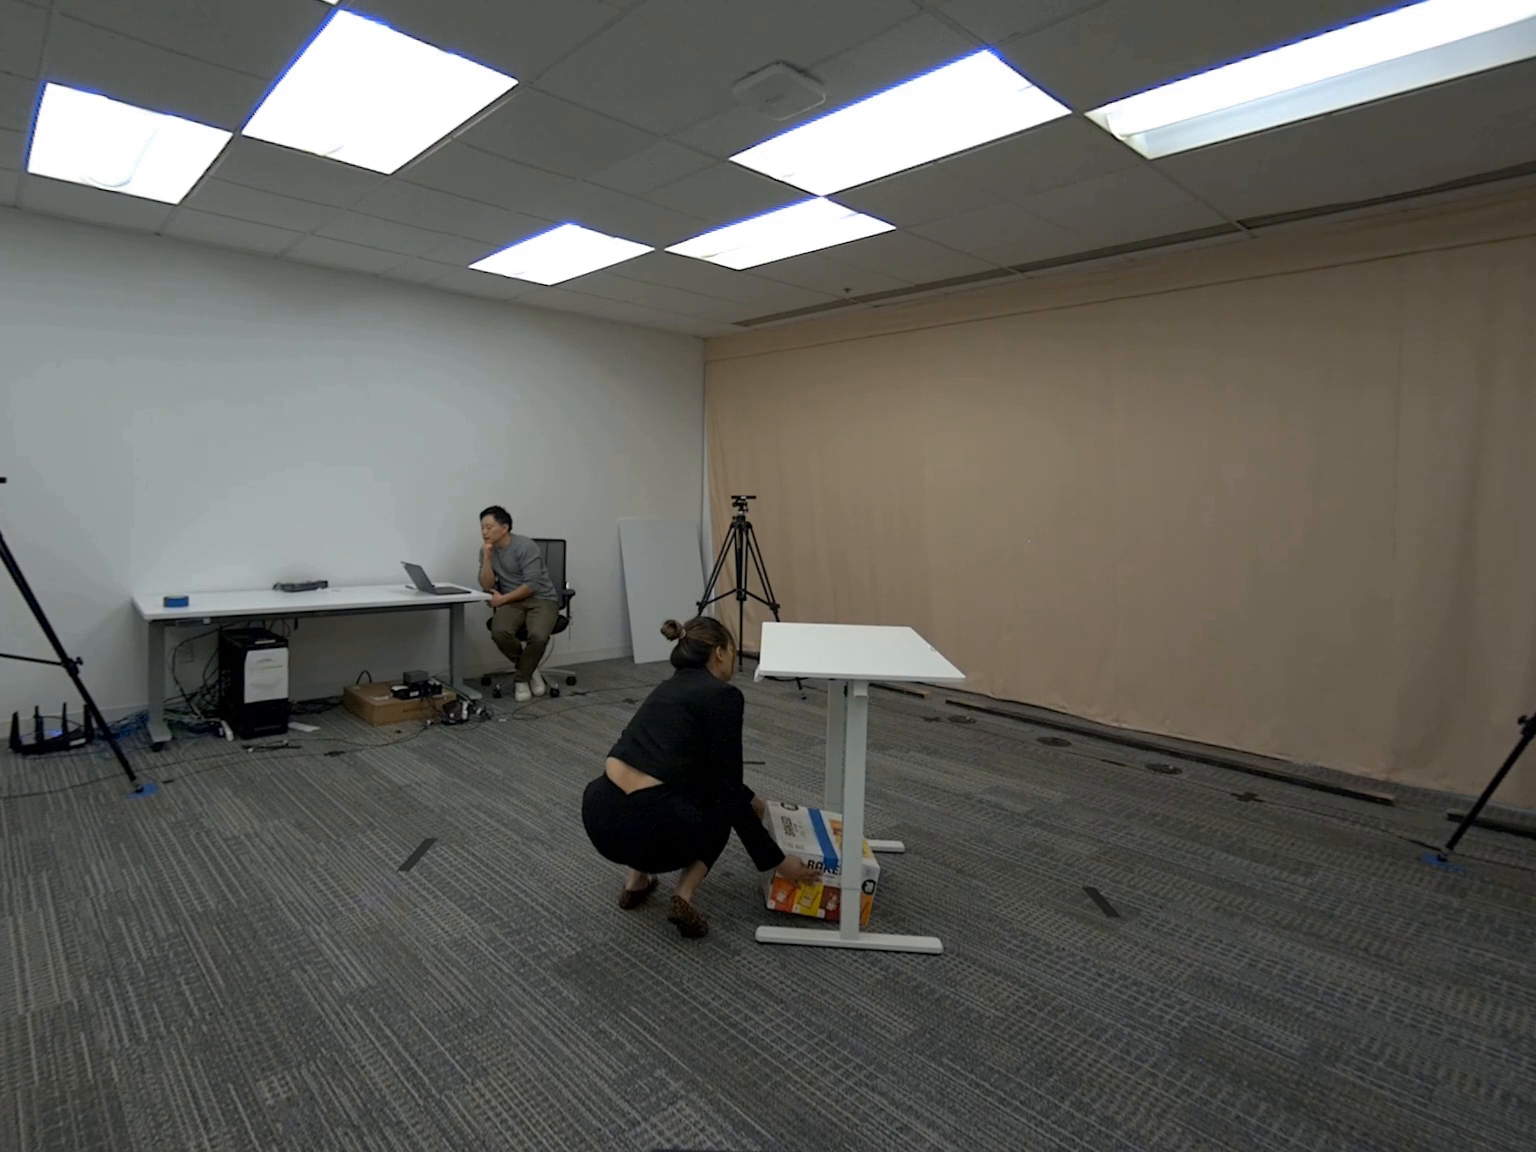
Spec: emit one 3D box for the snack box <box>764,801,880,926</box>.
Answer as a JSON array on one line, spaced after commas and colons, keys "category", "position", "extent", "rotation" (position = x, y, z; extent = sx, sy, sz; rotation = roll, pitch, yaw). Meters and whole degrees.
[{"category": "snack box", "position": [0.143, 0.990, 2.930], "extent": [0.338, 0.205, 0.408], "rotation": [12, 6, -7]}]
